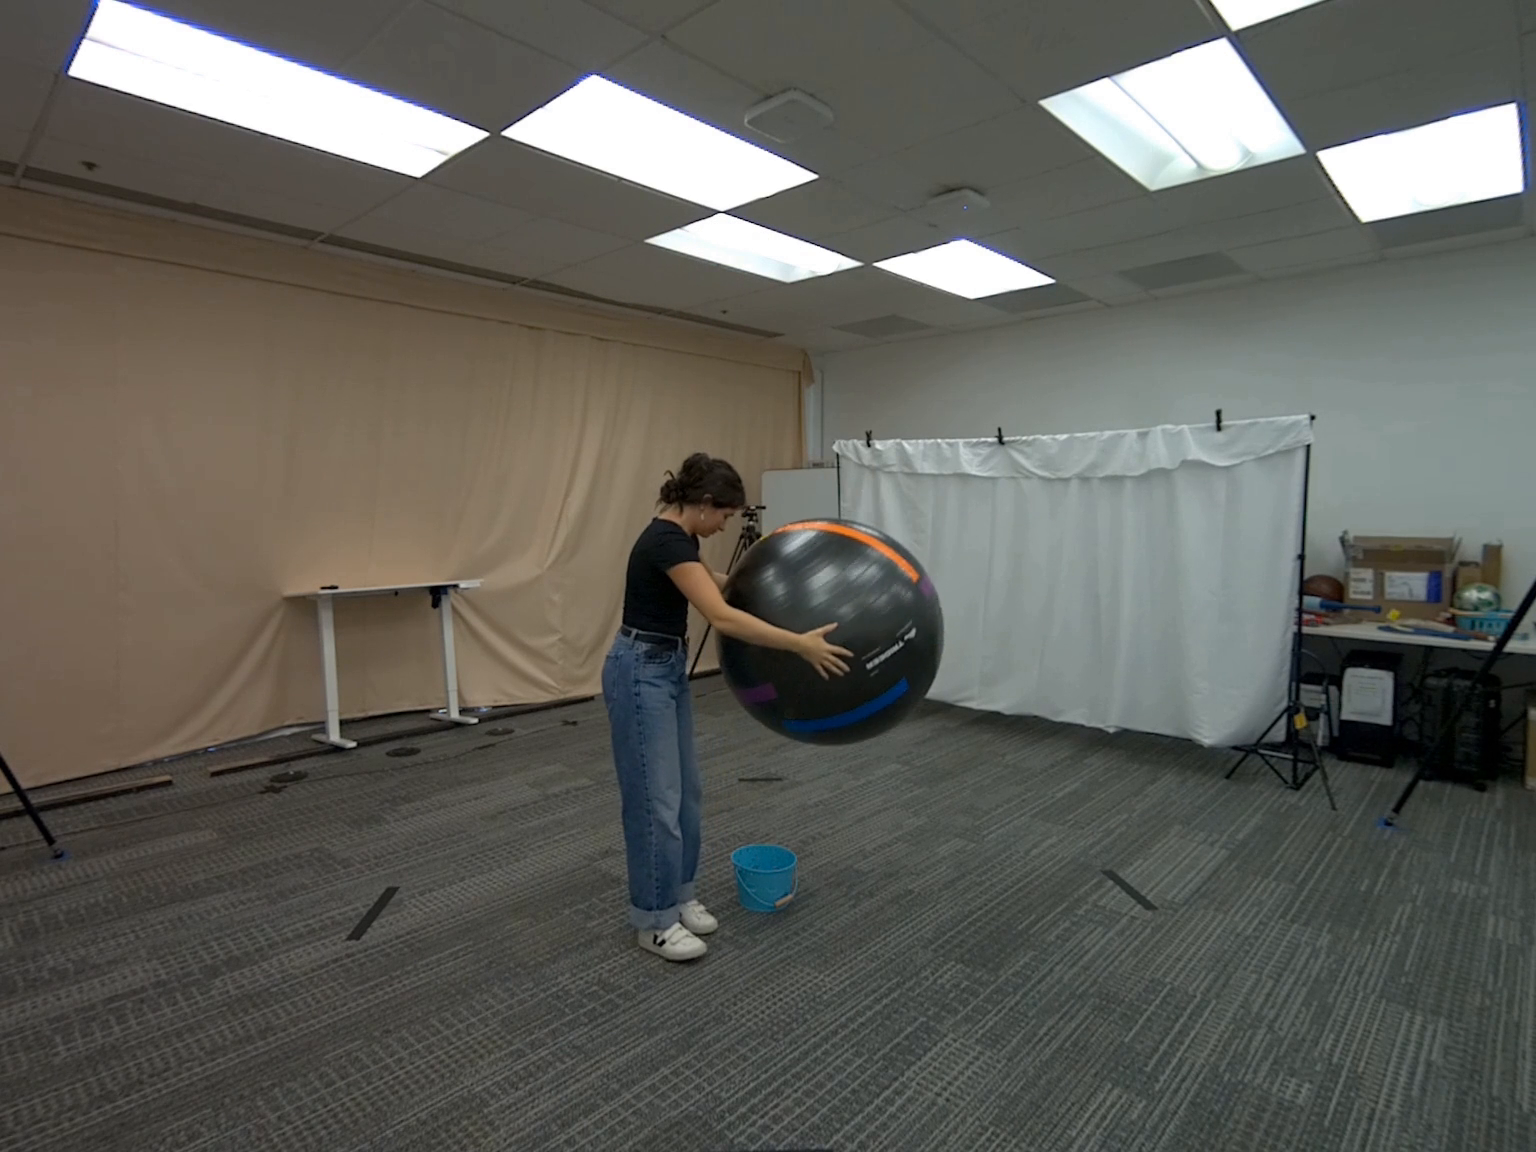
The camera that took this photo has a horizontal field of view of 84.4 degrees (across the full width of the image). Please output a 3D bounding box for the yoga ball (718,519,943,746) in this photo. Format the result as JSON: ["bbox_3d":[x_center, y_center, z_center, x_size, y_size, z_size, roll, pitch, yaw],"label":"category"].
[{"bbox_3d":[0.195,0.185,2.830,0.757,0.756,0.760,0,4,-2],"label":"yoga ball"}]
